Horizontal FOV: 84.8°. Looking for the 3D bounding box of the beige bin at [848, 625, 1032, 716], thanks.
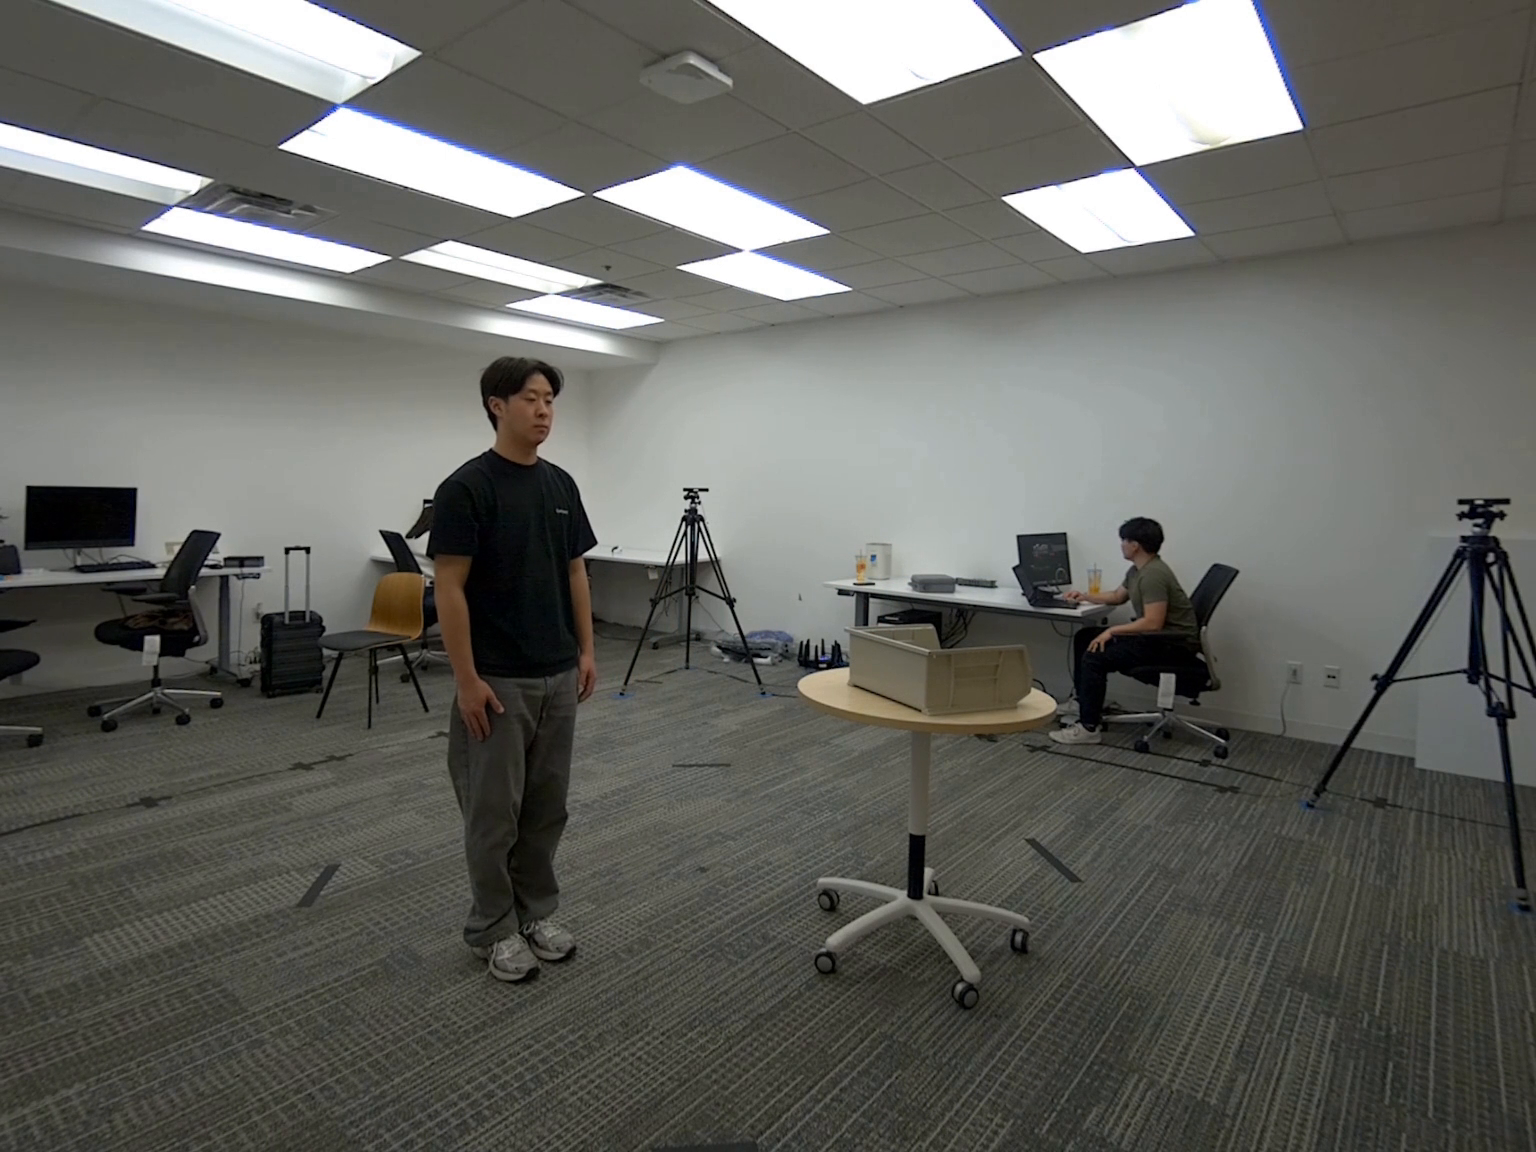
[{"bbox_3d":[0.498,0.268,2.553,0.368,0.188,0.434,-2,6,-26],"label":"beige bin"}]
